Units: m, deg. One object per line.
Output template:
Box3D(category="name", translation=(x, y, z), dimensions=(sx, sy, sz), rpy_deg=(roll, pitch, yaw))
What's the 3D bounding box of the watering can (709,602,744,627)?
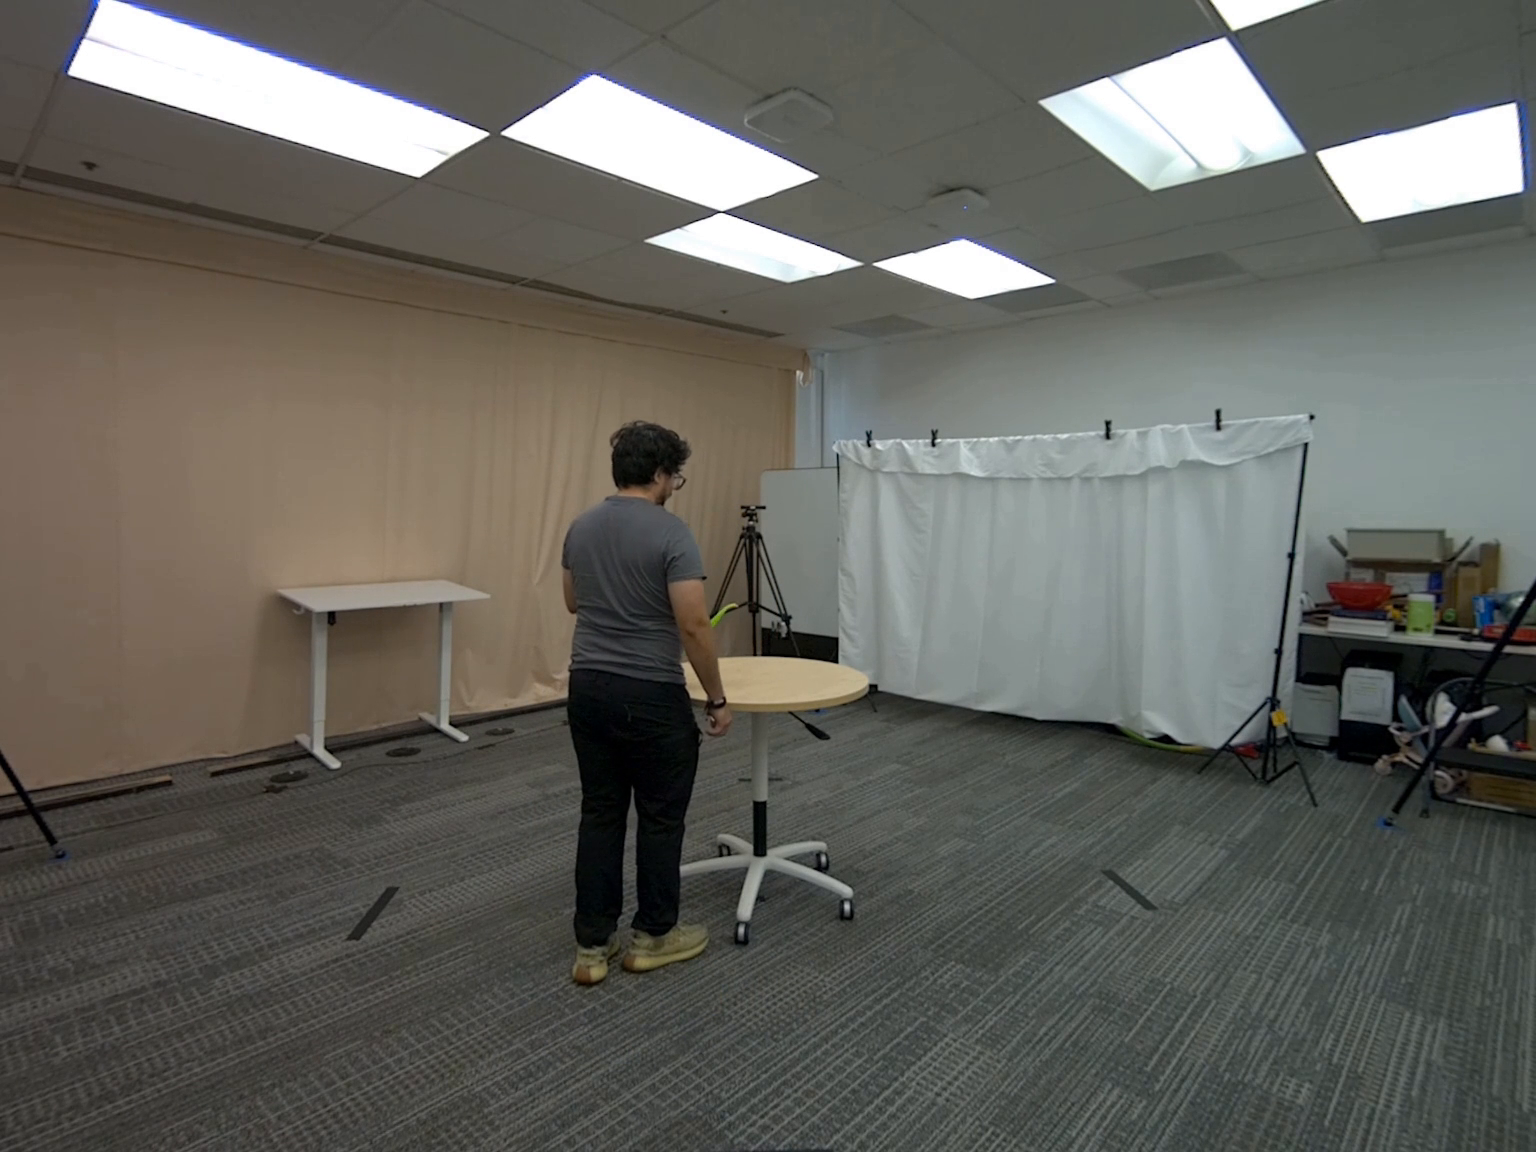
Box3D(category="watering can", translation=(-0.256, 0.171, 2.866), dimensions=(0.285, 0.177, 0.095), rpy_deg=(5, -4, 21))
